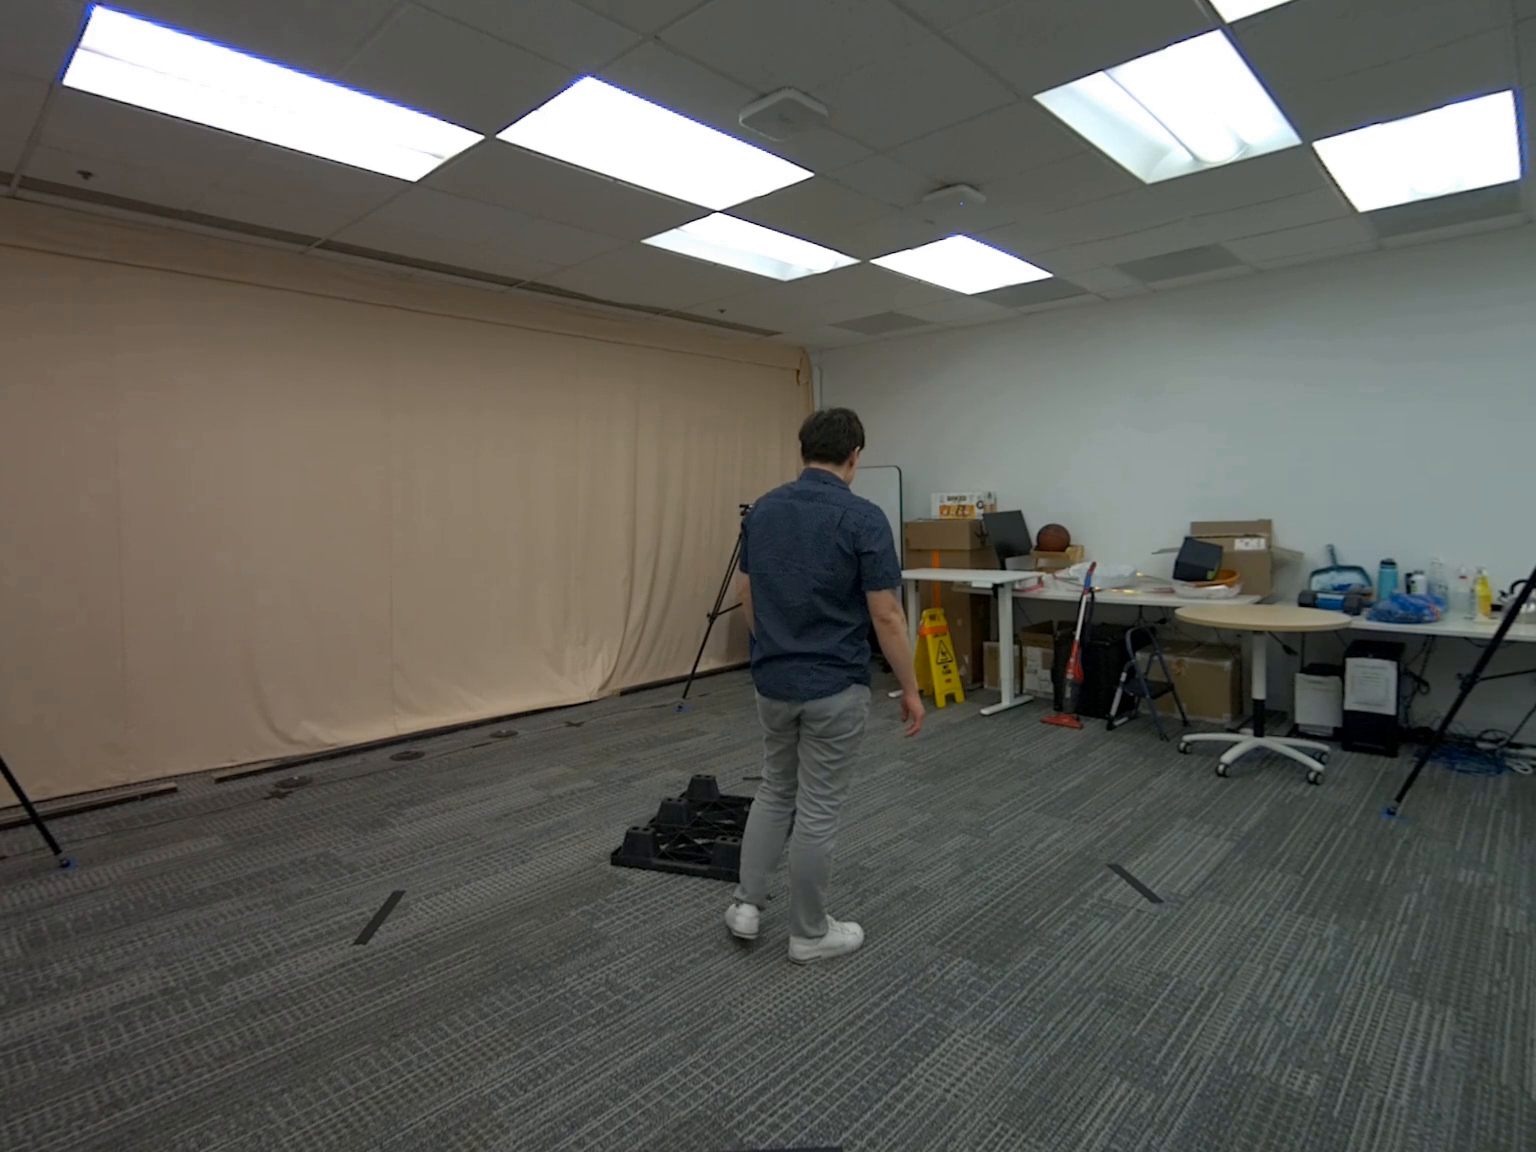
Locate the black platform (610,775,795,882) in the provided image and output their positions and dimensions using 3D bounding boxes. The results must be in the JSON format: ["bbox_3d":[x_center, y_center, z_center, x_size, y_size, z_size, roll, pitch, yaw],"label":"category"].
[{"bbox_3d":[-0.225,1.031,3.552,0.617,0.143,0.792,1,5,18],"label":"black platform"}]
